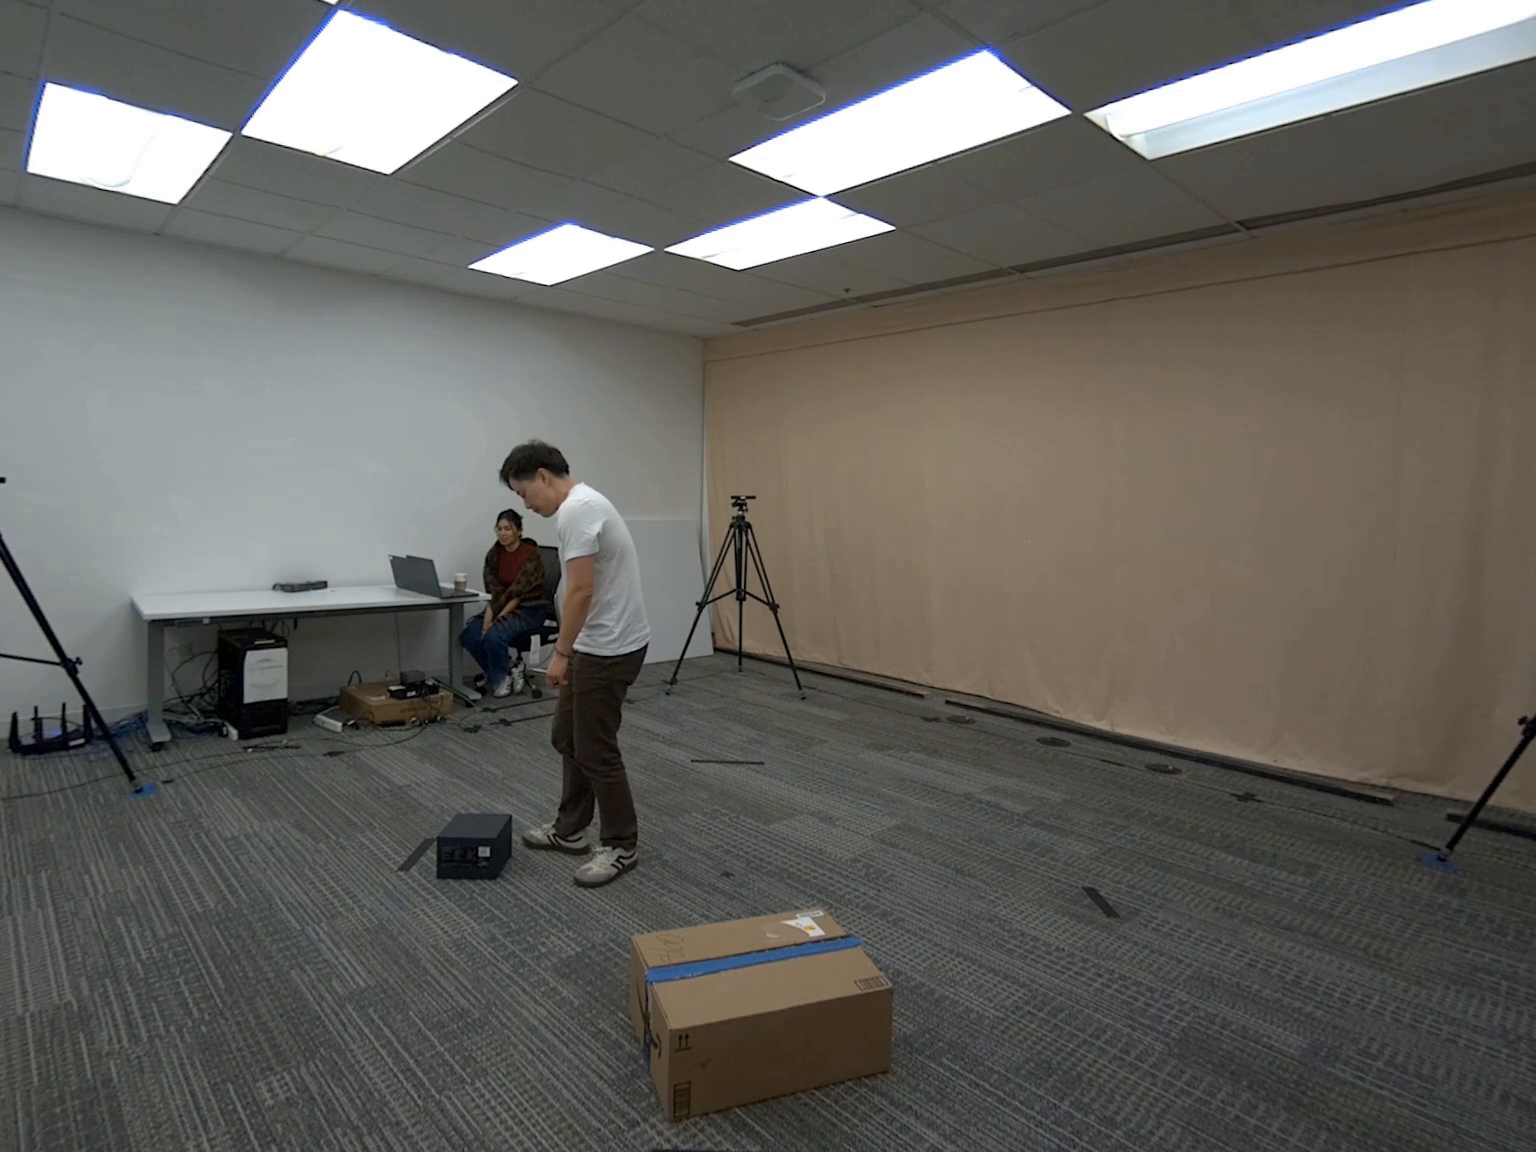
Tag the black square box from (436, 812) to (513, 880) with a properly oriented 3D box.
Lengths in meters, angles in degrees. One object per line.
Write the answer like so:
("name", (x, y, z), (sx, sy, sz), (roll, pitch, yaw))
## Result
("black square box", (-1.095, 0.997, 3.122), (0.217, 0.155, 0.229), (1, 5, -2))
